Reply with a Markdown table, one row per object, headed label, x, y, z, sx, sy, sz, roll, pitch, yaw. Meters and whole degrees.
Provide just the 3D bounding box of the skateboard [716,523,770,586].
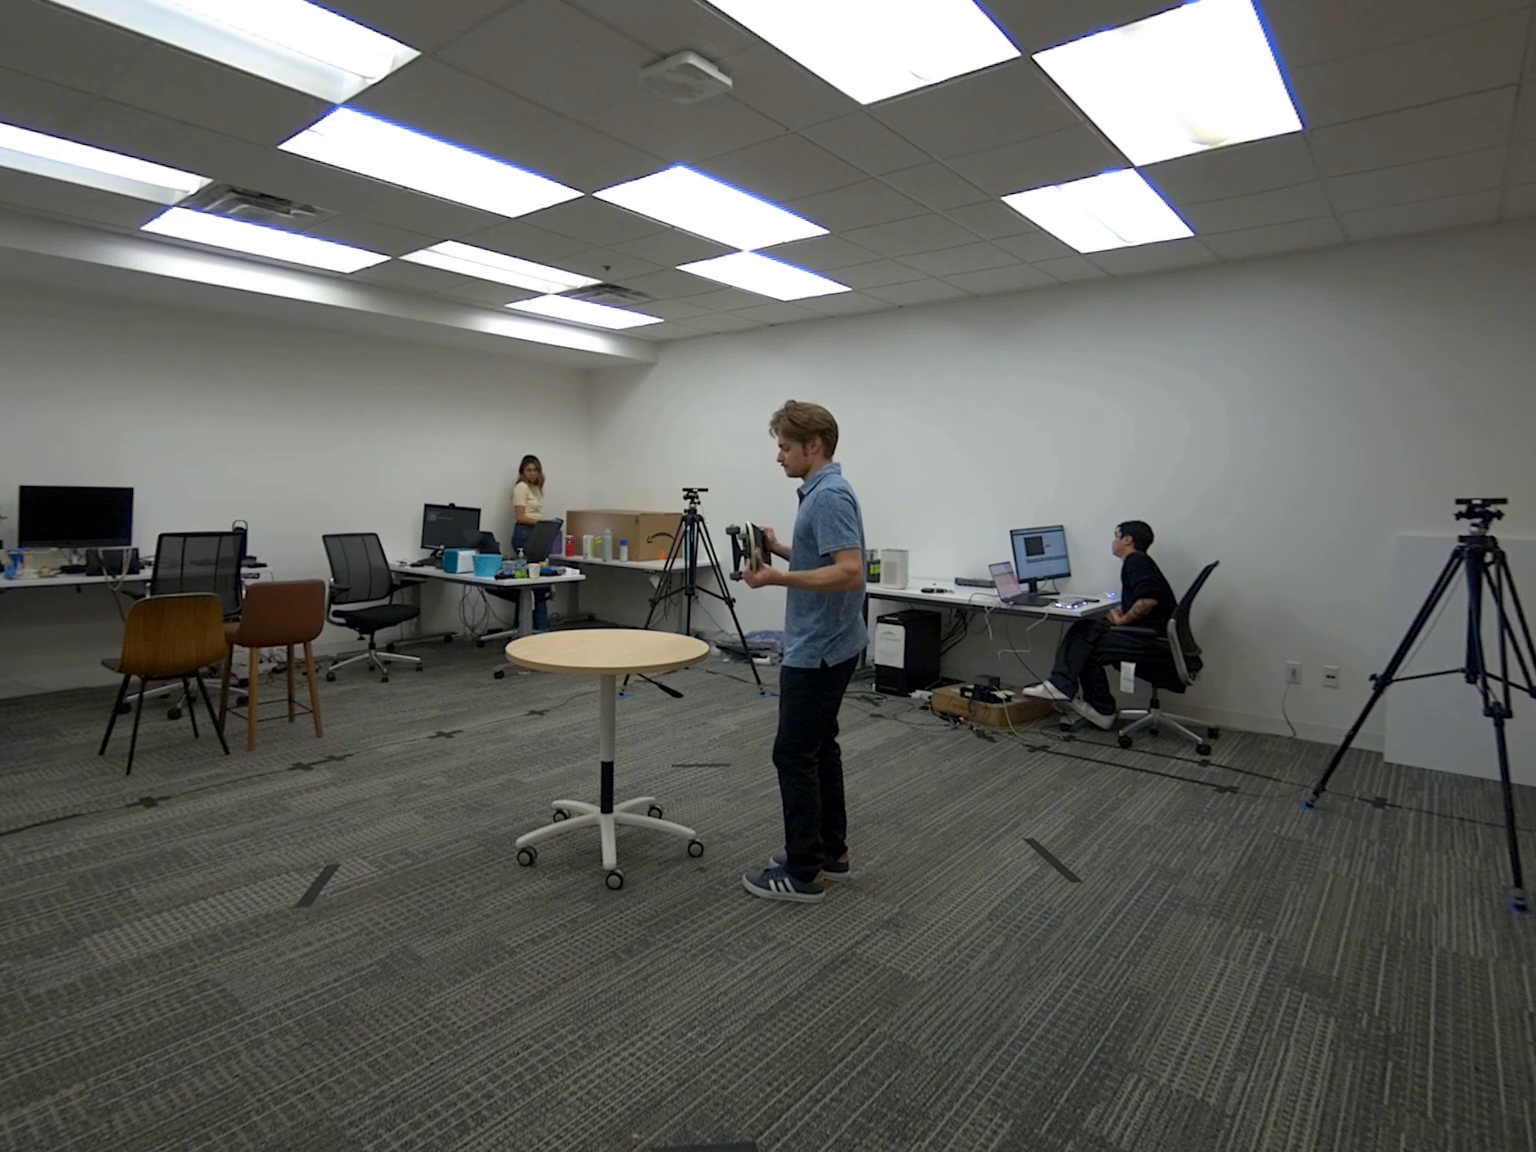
| label | x | y | z | sx | sy | sz | roll | pitch | yaw |
| --- | --- | --- | --- | --- | --- | --- | --- | --- | --- |
| skateboard | -0.079 | -0.080 | 3.059 | 0.111 | 0.193 | 0.780 | -2 | 1 | 4 |
